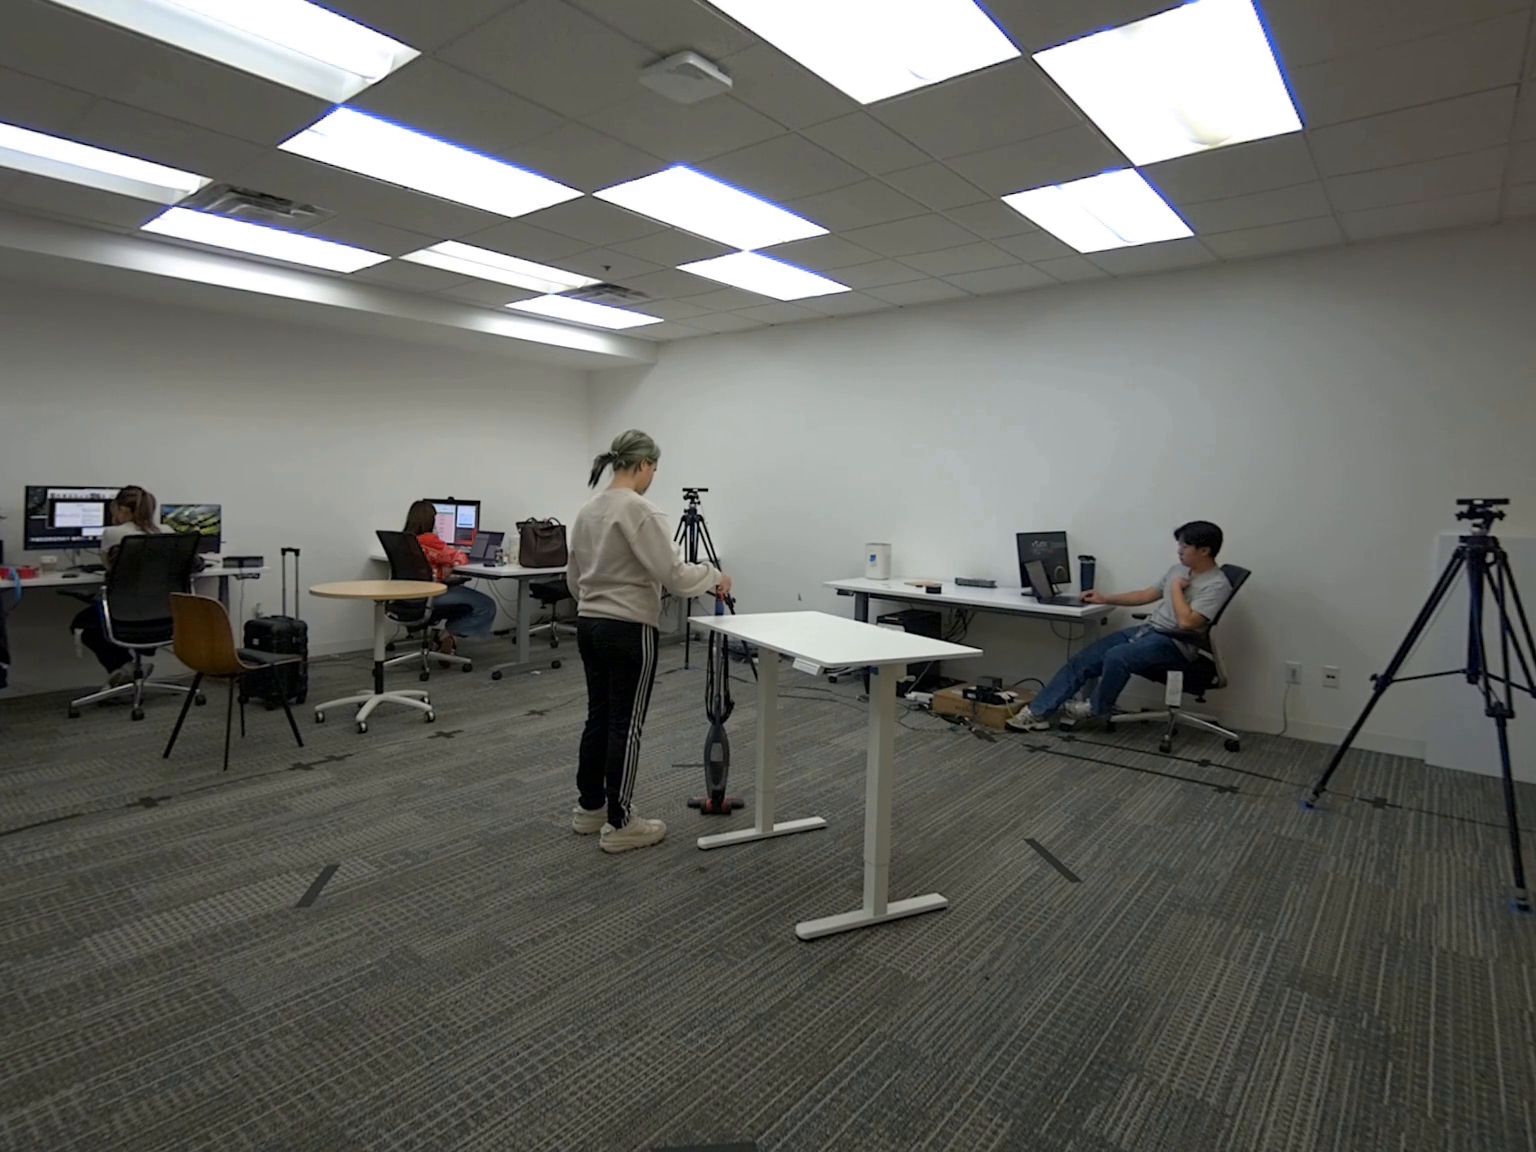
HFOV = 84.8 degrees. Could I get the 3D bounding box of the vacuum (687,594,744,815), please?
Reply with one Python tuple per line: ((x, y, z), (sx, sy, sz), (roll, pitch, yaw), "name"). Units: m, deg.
((-0.229, 0.526, 3.559), (0.252, 1.033, 0.146), (-1, 17, -3), "vacuum")
